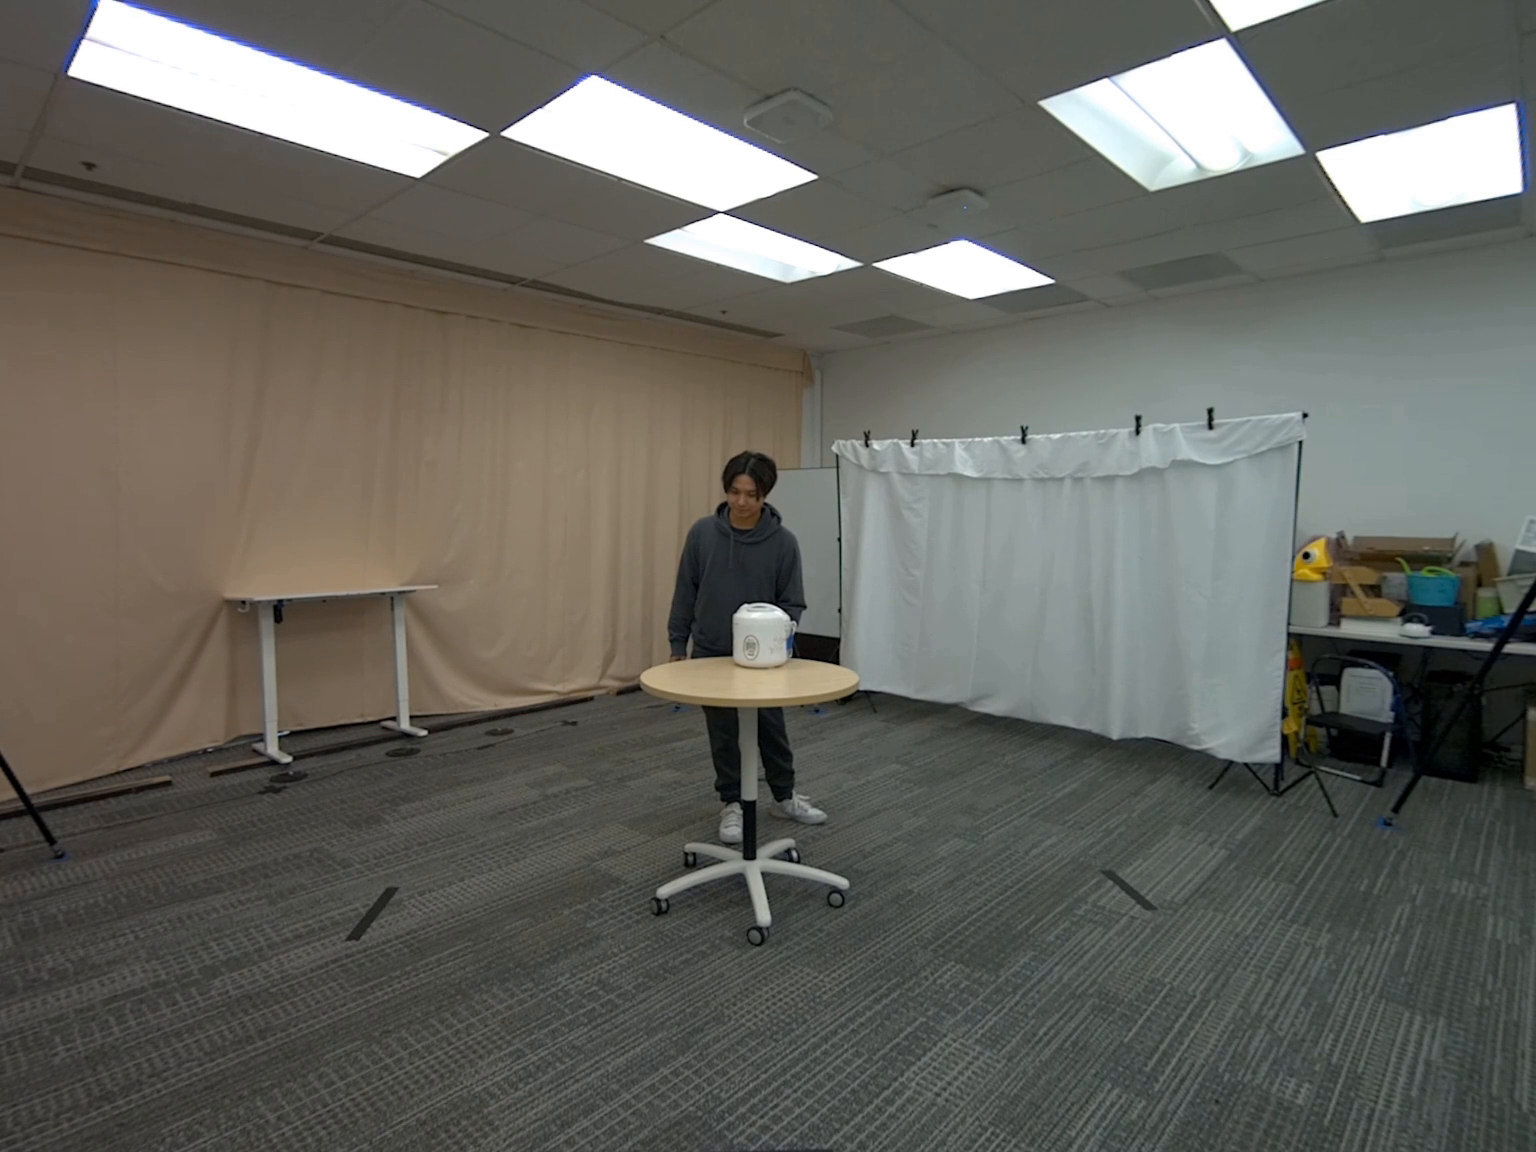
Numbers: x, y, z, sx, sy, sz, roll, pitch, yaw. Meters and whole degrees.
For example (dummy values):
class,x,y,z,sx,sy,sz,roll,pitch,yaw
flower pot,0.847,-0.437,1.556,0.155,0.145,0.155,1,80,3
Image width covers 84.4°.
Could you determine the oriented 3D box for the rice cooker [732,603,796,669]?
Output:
class,x,y,z,sx,sy,sz,roll,pitch,yaw
rice cooker,-0.027,0.217,3.161,0.226,0.232,0.213,0,2,21
